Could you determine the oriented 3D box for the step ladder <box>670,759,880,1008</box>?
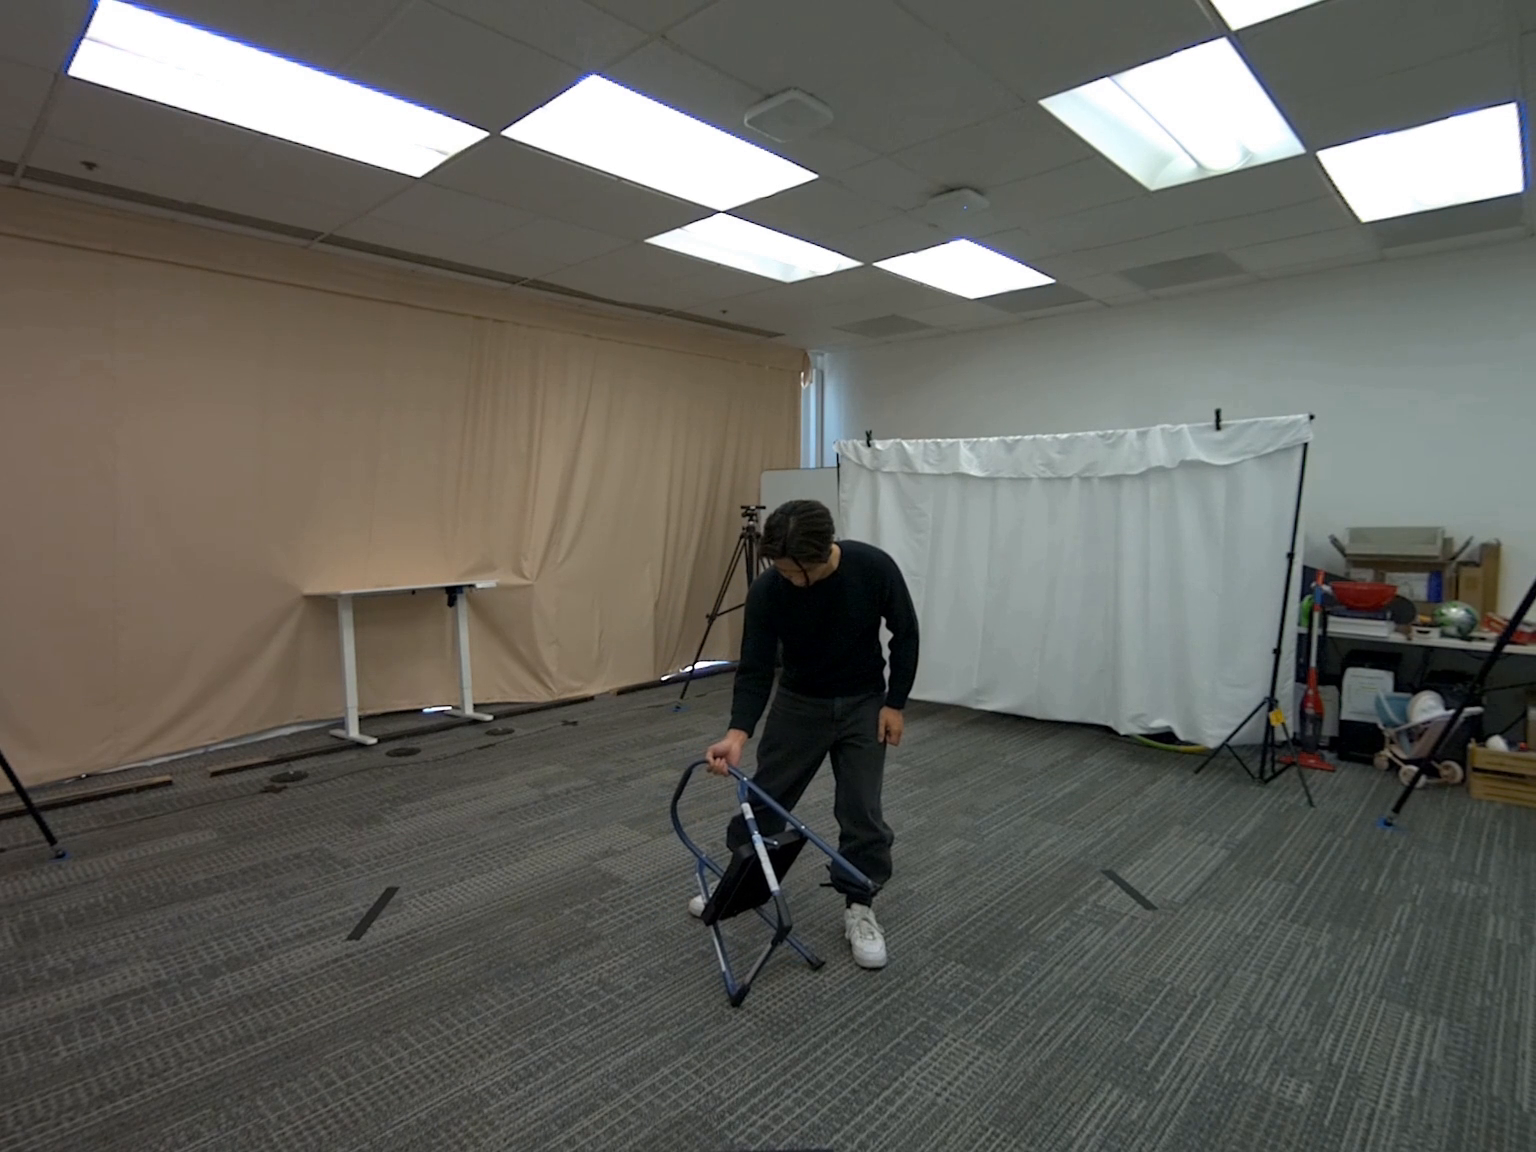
[{"bbox_3d":[-0.047,0.836,2.505,0.339,0.429,0.626,-4,41,-38],"label":"step ladder"}]
